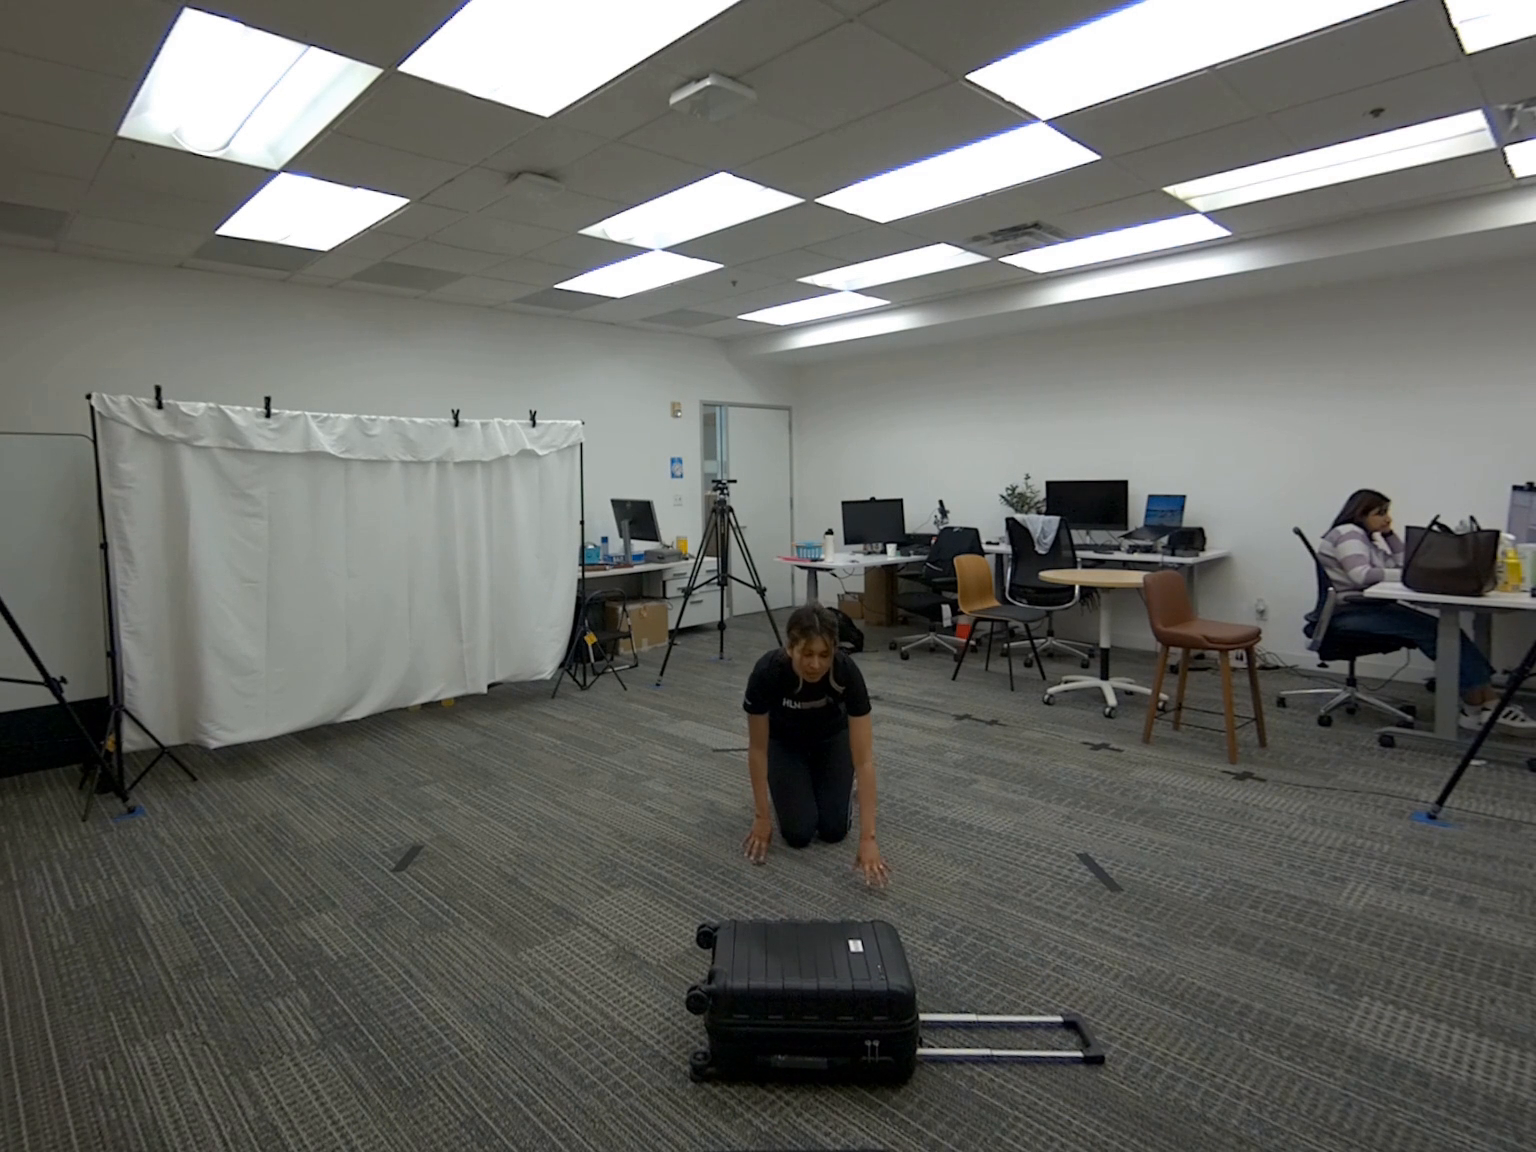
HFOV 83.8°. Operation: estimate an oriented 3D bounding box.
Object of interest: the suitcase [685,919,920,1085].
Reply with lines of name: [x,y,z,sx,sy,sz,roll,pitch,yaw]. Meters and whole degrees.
suitcase: [0.299,1.038,2.106,0.981,0.256,0.384,-3,4,2]
